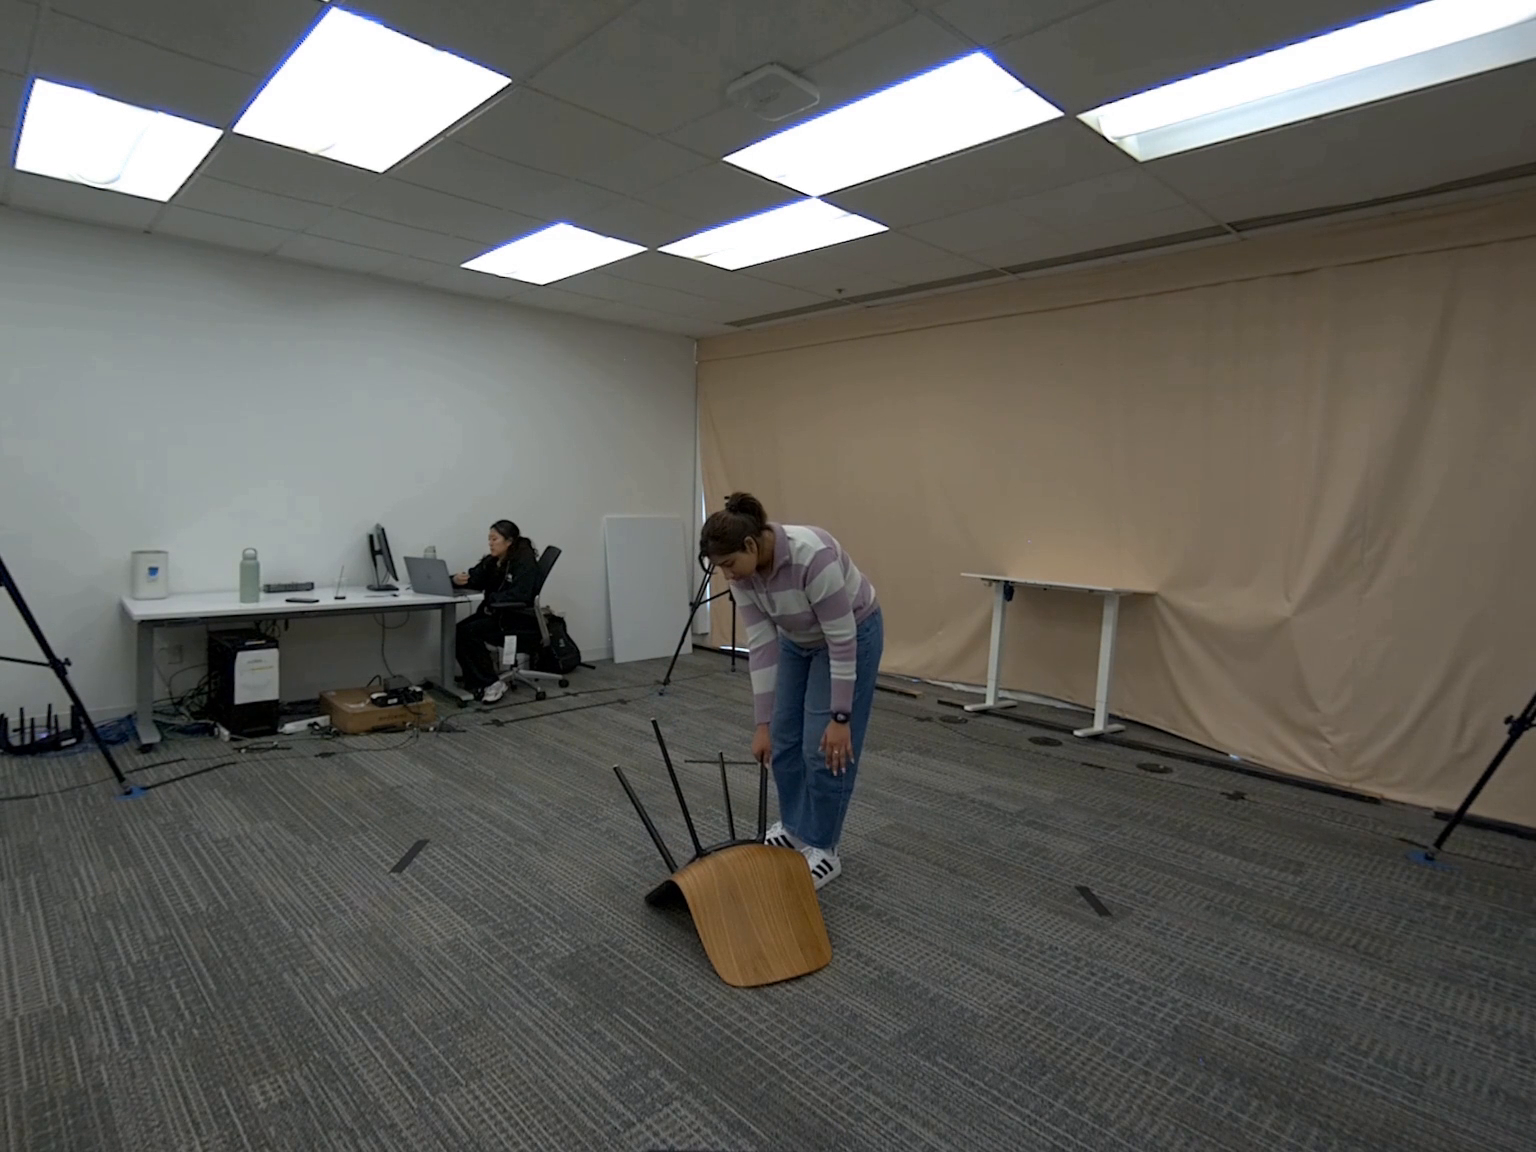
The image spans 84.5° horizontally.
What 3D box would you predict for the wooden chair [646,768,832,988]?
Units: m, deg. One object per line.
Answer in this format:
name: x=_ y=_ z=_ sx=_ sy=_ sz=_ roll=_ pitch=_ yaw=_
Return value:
wooden chair: x=-0.172 y=0.957 z=2.843 sx=0.468 sy=0.900 sz=0.520 roll=-1 pitch=-37 yaw=-30
